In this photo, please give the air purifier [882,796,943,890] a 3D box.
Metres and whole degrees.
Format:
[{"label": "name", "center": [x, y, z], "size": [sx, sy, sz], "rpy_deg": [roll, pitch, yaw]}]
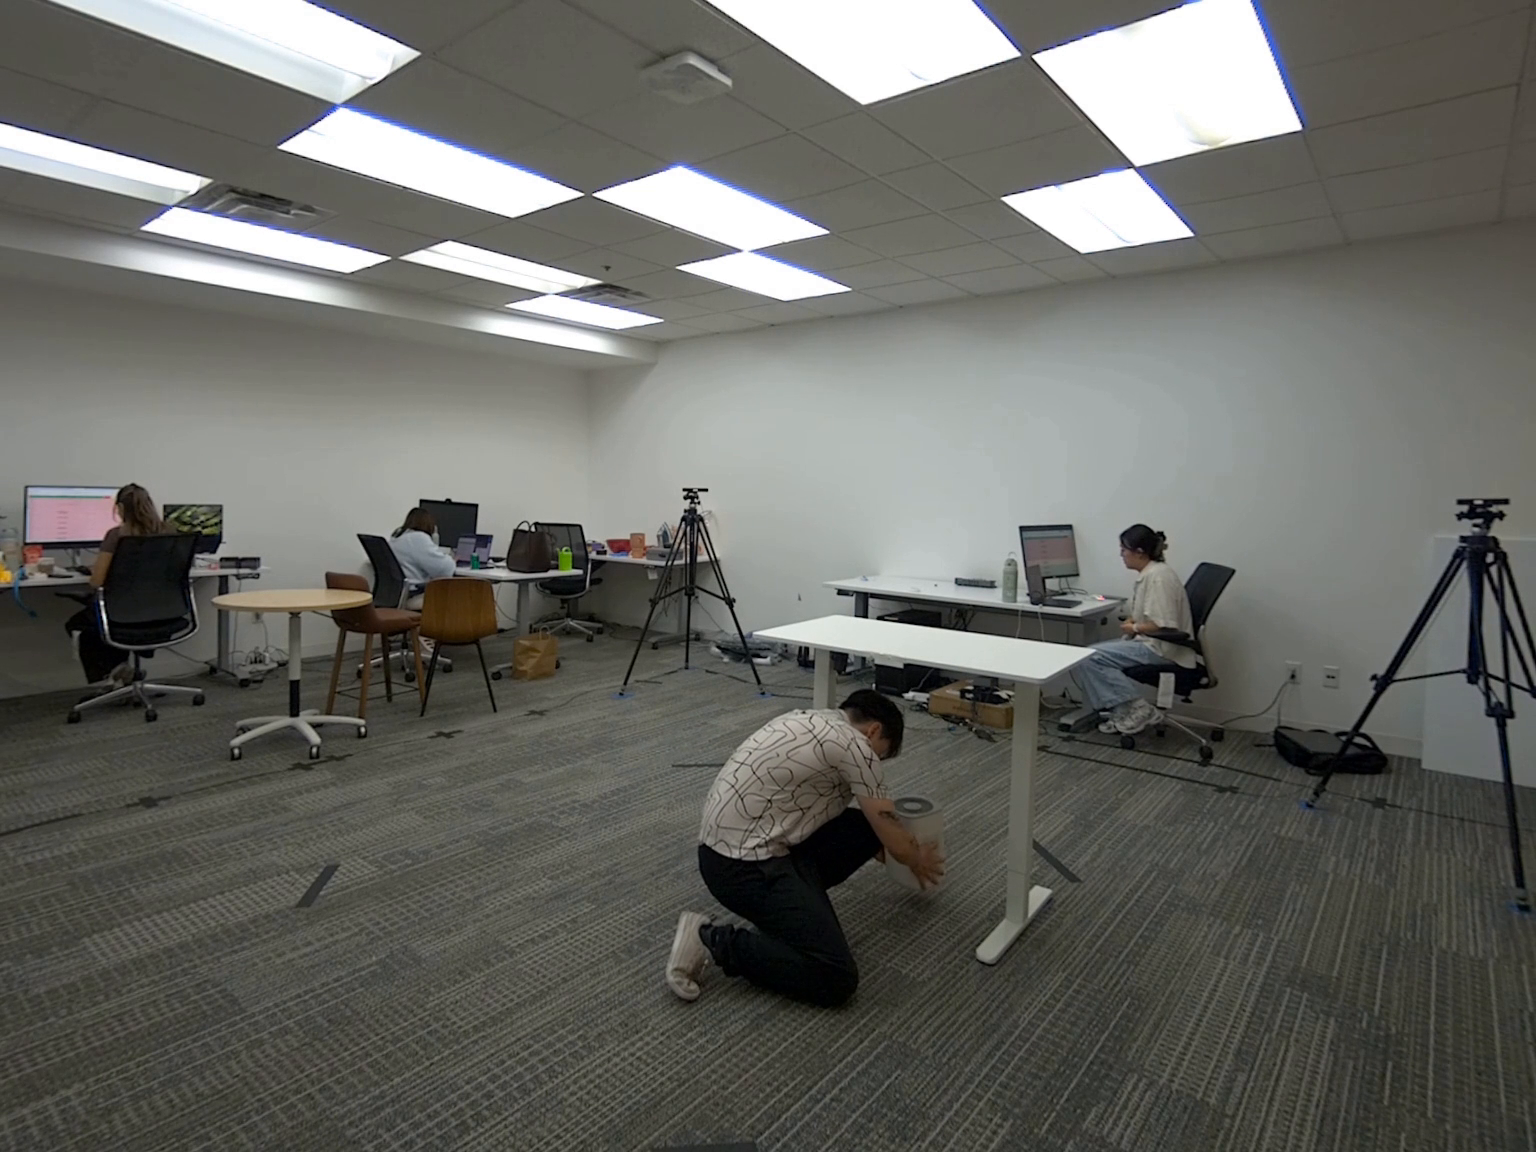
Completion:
[{"label": "air purifier", "center": [0.495, 0.913, 2.904], "size": [0.167, 0.264, 0.176], "rpy_deg": [-5, 6, -33]}]
